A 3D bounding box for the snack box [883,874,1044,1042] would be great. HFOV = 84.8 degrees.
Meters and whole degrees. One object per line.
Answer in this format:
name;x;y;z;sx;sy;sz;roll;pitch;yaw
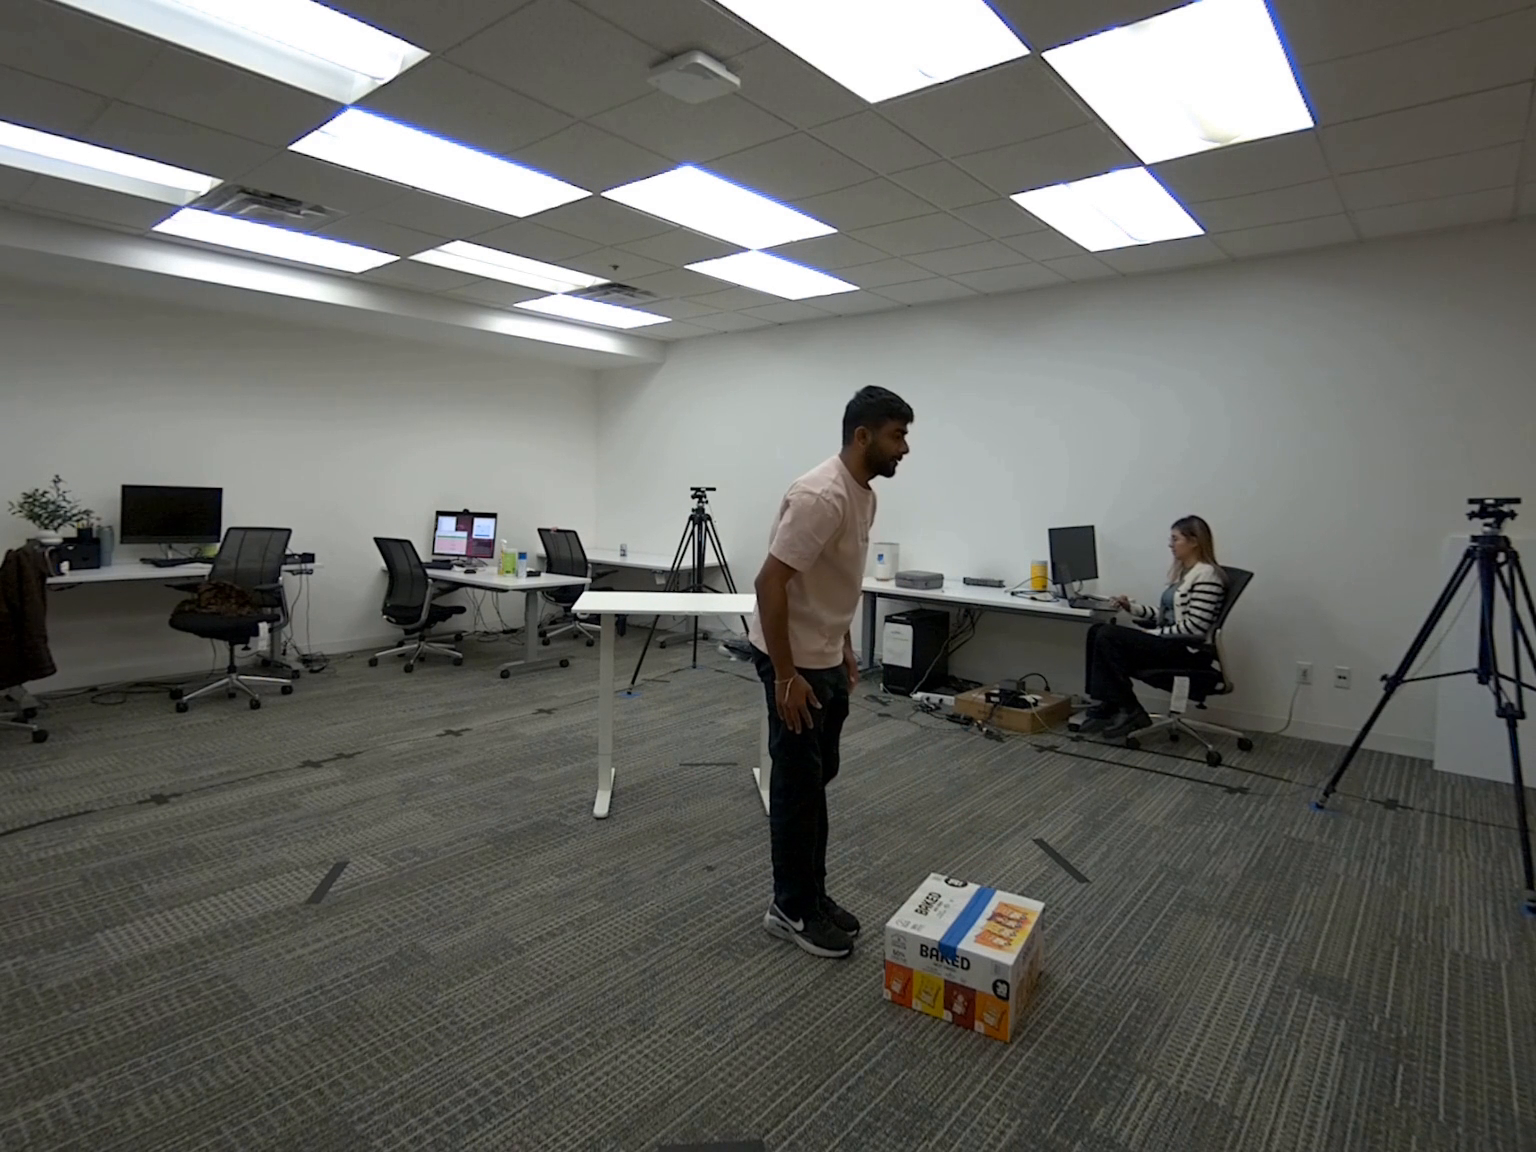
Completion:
snack box;0.558;1.053;2.406;0.351;0.205;0.395;5;6;31
